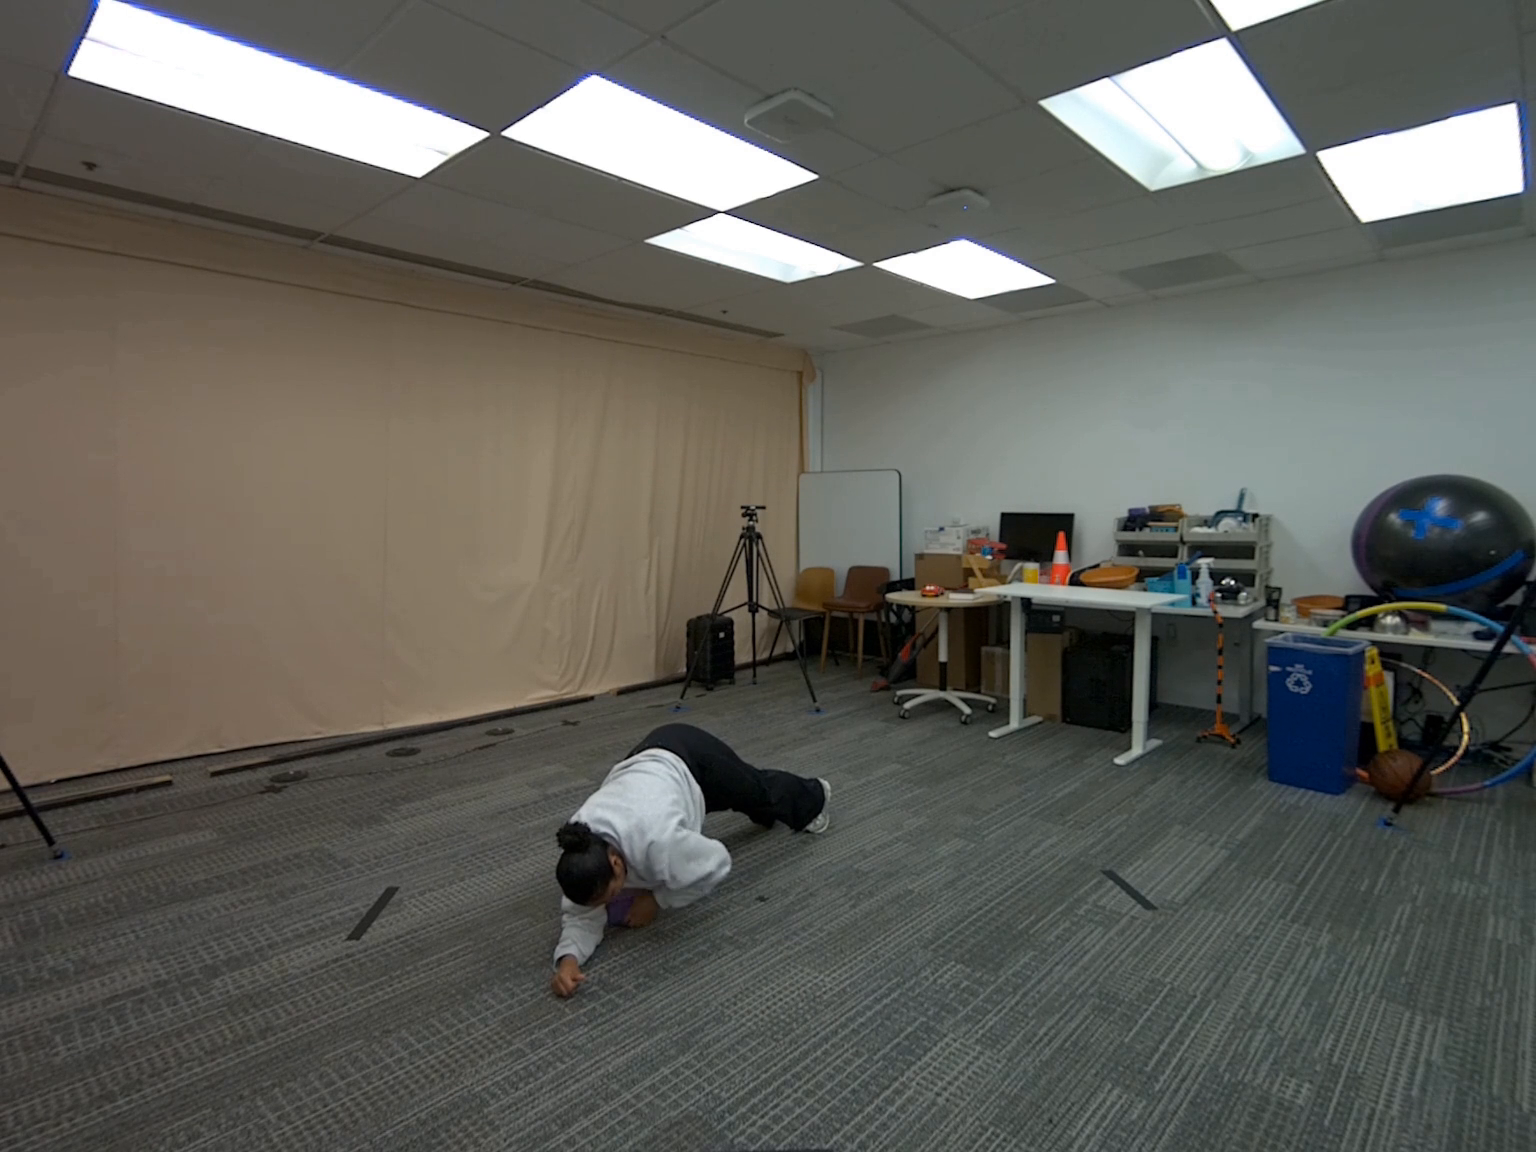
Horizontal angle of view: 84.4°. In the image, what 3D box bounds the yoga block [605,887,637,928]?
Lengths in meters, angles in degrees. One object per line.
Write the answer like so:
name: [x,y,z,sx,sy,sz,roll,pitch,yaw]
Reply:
yoga block: [-0.482,1.103,2.892,0.147,0.076,0.232,-1,4,-11]
